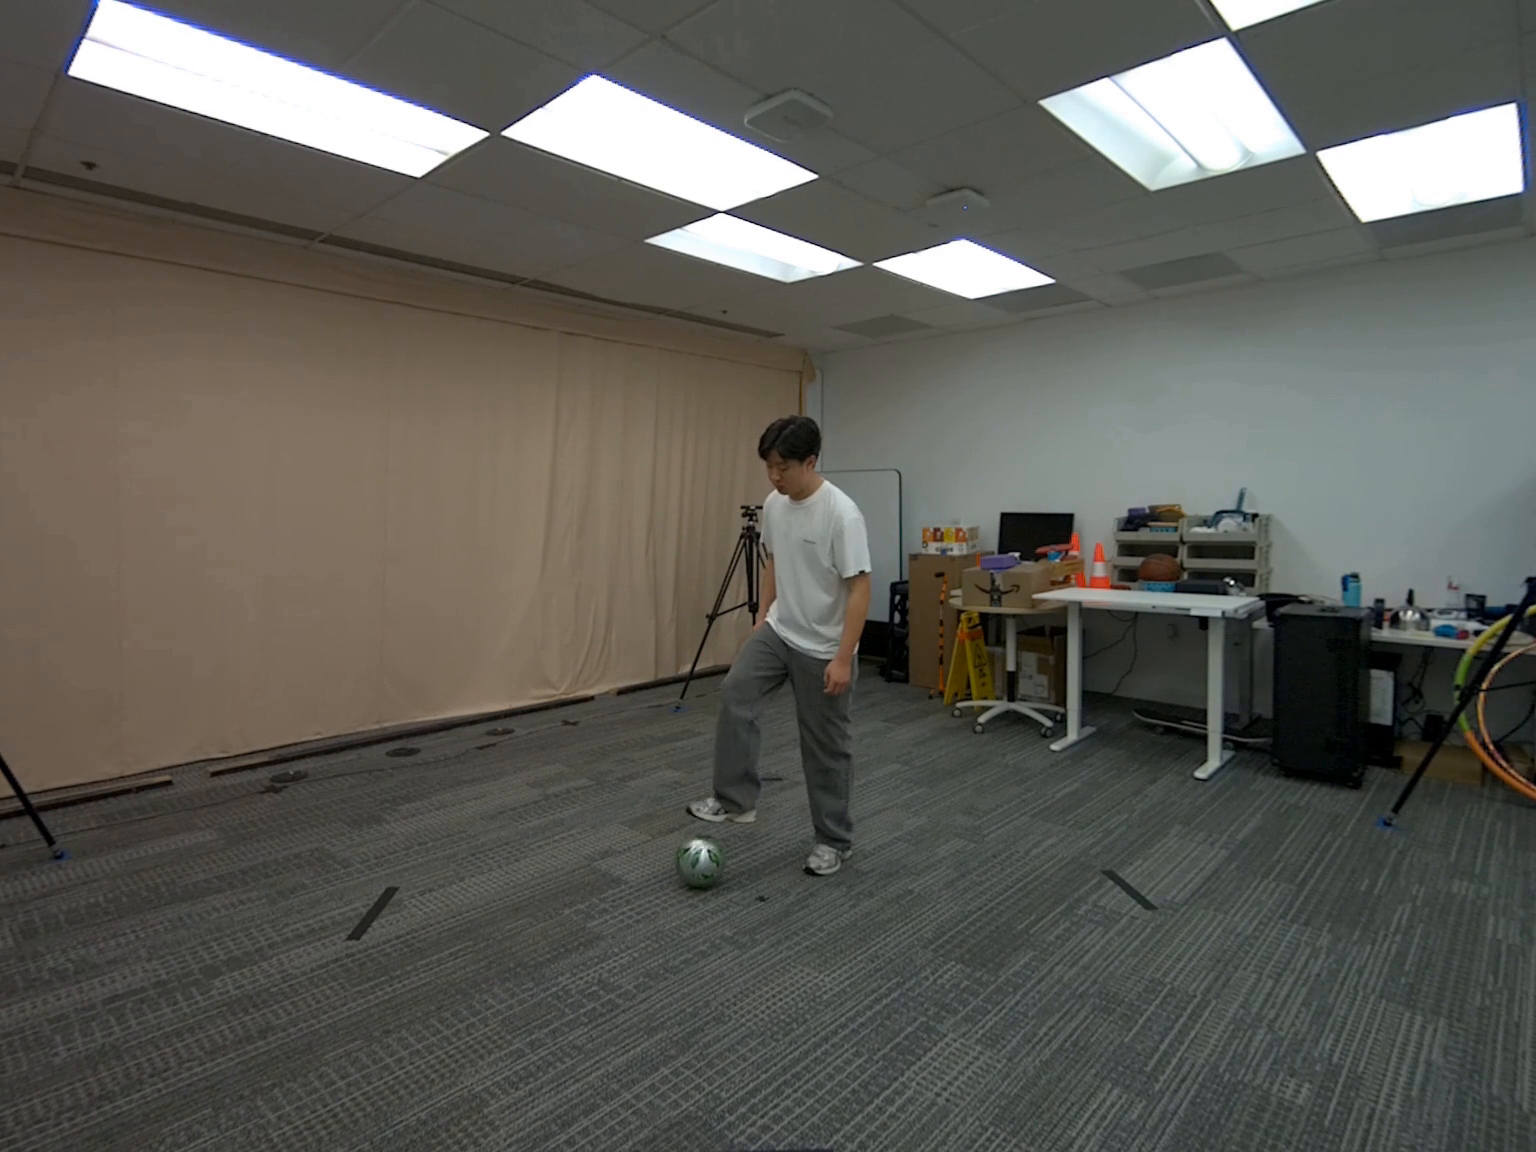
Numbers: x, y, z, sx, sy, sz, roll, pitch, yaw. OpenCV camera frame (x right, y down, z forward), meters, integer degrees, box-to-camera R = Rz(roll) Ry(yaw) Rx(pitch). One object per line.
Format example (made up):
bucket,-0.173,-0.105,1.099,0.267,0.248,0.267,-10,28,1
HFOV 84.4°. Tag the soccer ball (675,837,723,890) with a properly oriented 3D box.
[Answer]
soccer ball,-0.243,1.043,3.094,0.187,0.187,0.188,0,4,-2
